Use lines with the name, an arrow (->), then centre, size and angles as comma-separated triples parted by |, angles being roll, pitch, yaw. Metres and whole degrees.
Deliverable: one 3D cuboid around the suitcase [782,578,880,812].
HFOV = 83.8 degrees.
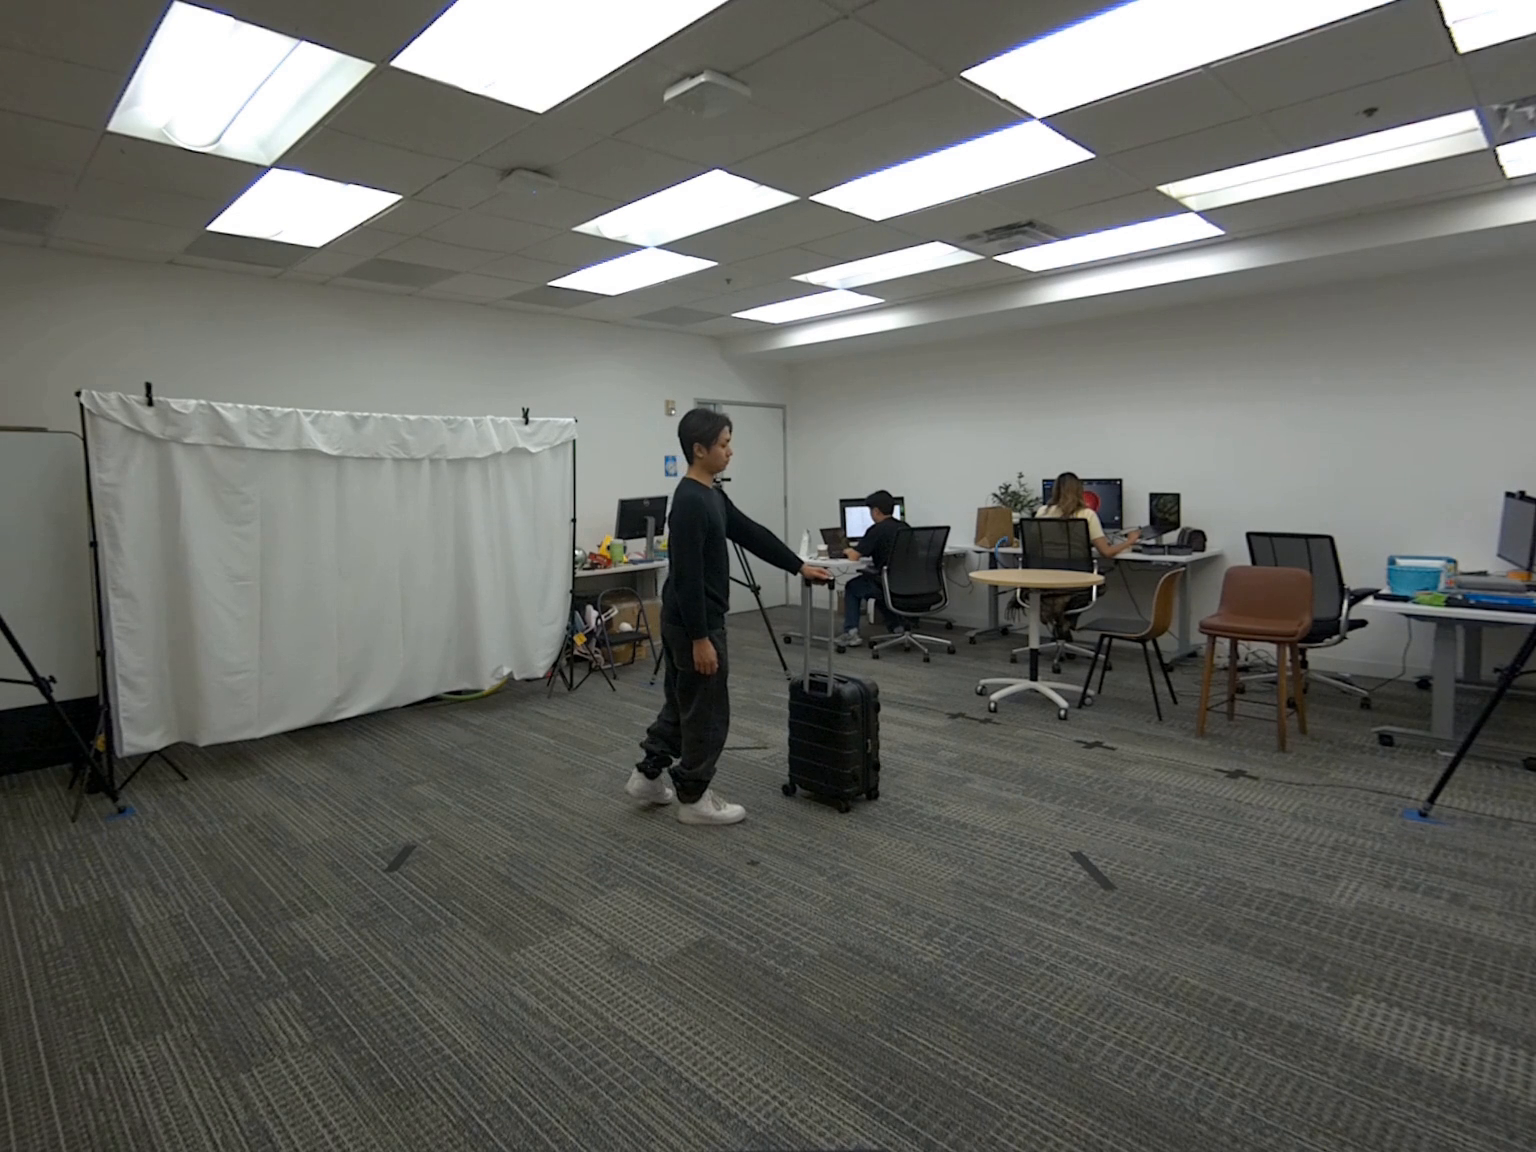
suitcase -> 0.287, 0.491, 3.703 | 0.396, 0.976, 0.250 | 4, 4, 42
